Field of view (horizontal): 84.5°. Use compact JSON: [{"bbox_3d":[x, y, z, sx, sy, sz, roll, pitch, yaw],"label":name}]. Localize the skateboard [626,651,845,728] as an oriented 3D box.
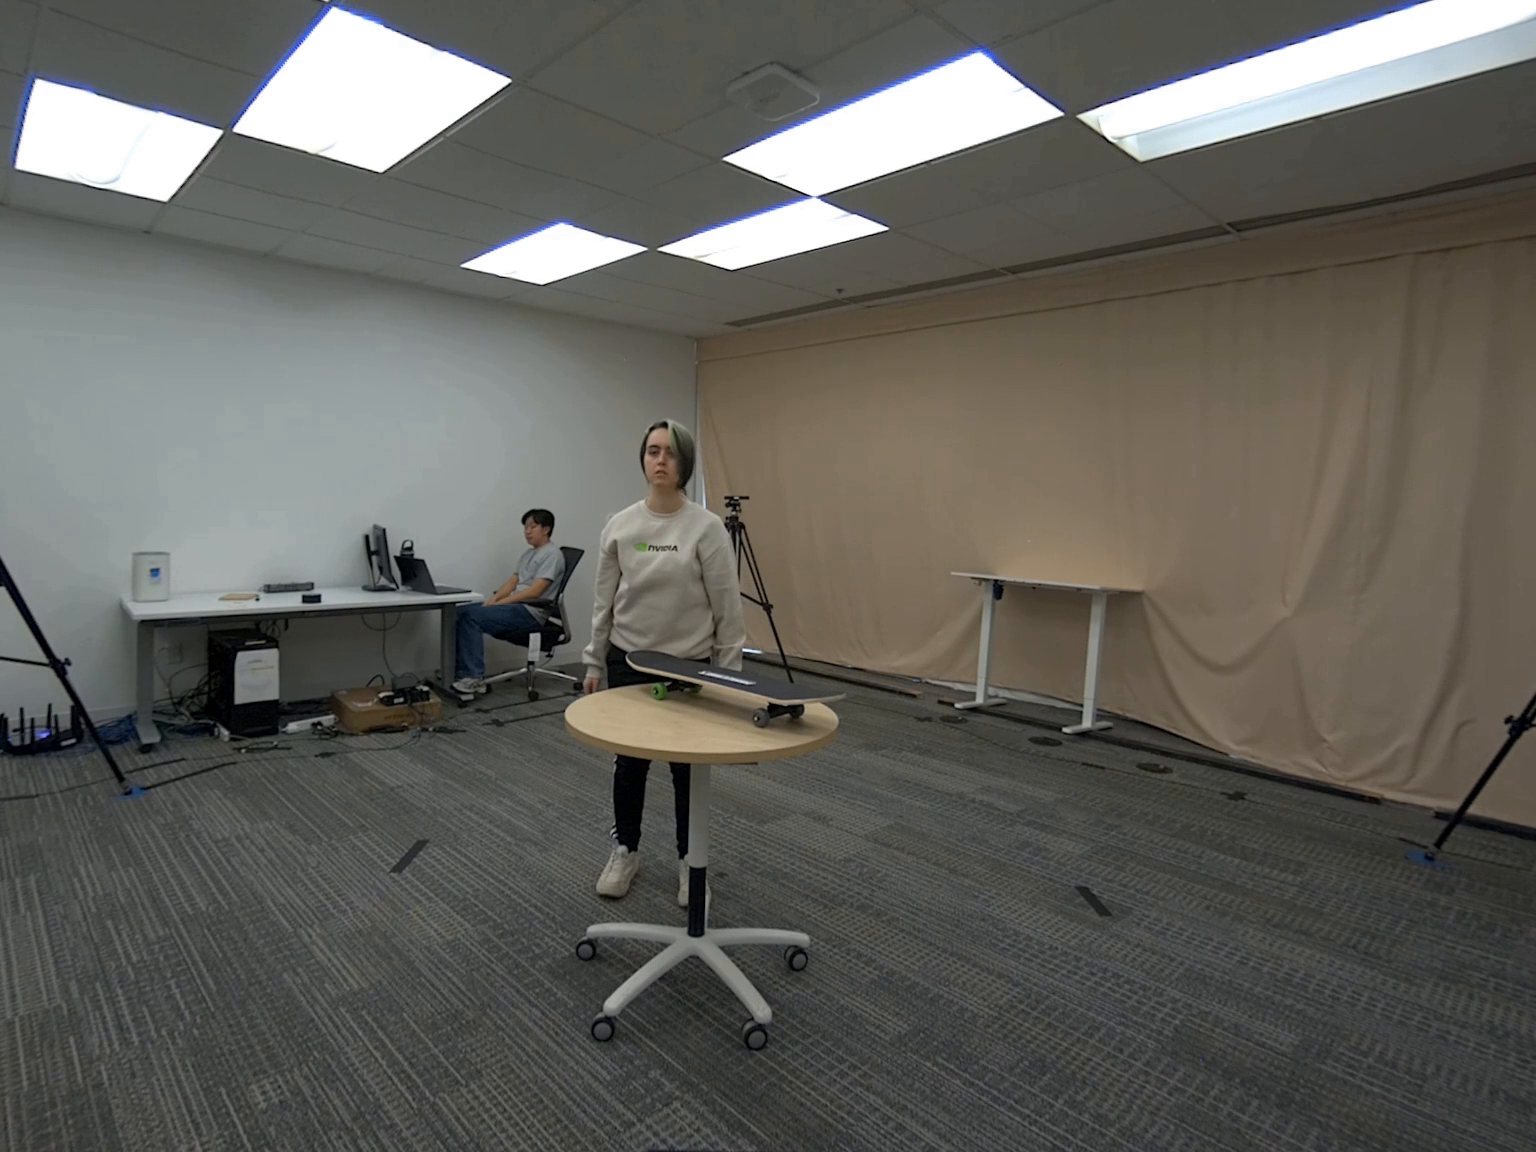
[{"bbox_3d":[-0.138,0.334,2.423,0.806,0.110,0.189,7,5,42],"label":"skateboard"}]
